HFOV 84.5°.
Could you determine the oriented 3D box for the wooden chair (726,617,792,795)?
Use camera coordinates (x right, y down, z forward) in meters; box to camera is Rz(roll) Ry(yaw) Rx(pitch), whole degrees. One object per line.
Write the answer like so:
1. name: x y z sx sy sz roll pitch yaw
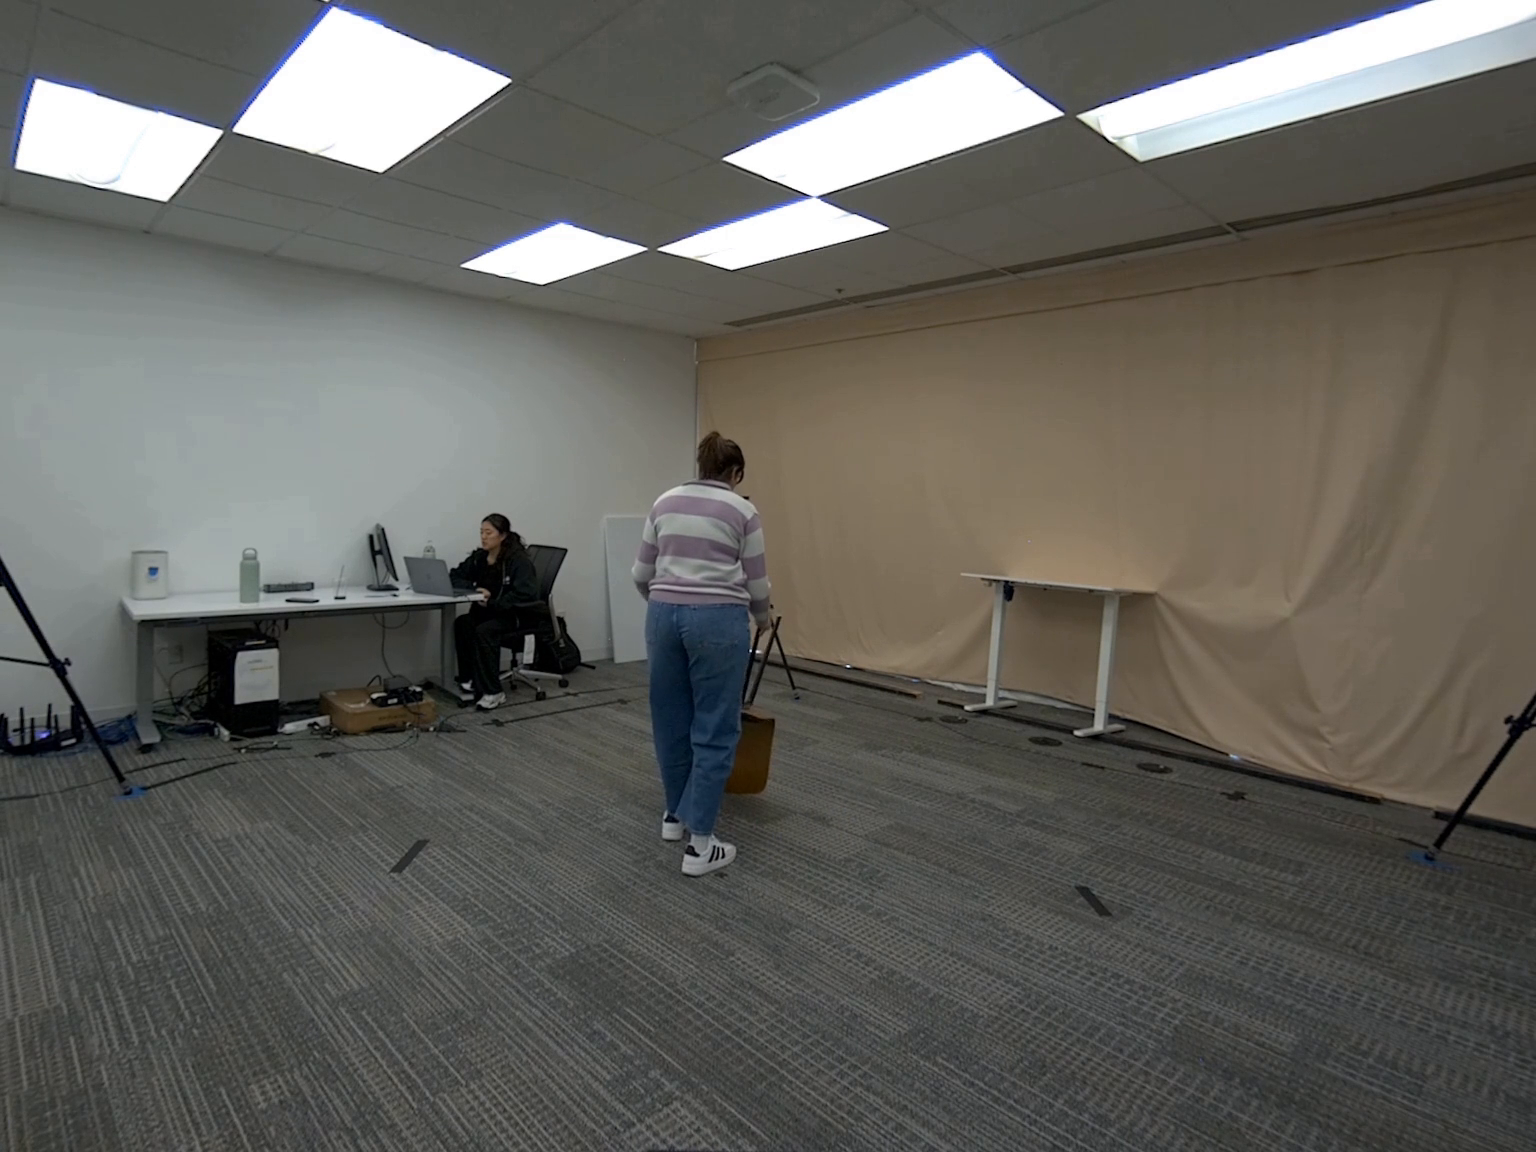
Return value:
1. wooden chair: -0.222 0.579 3.779 0.482 0.880 0.516 2 -5 10
